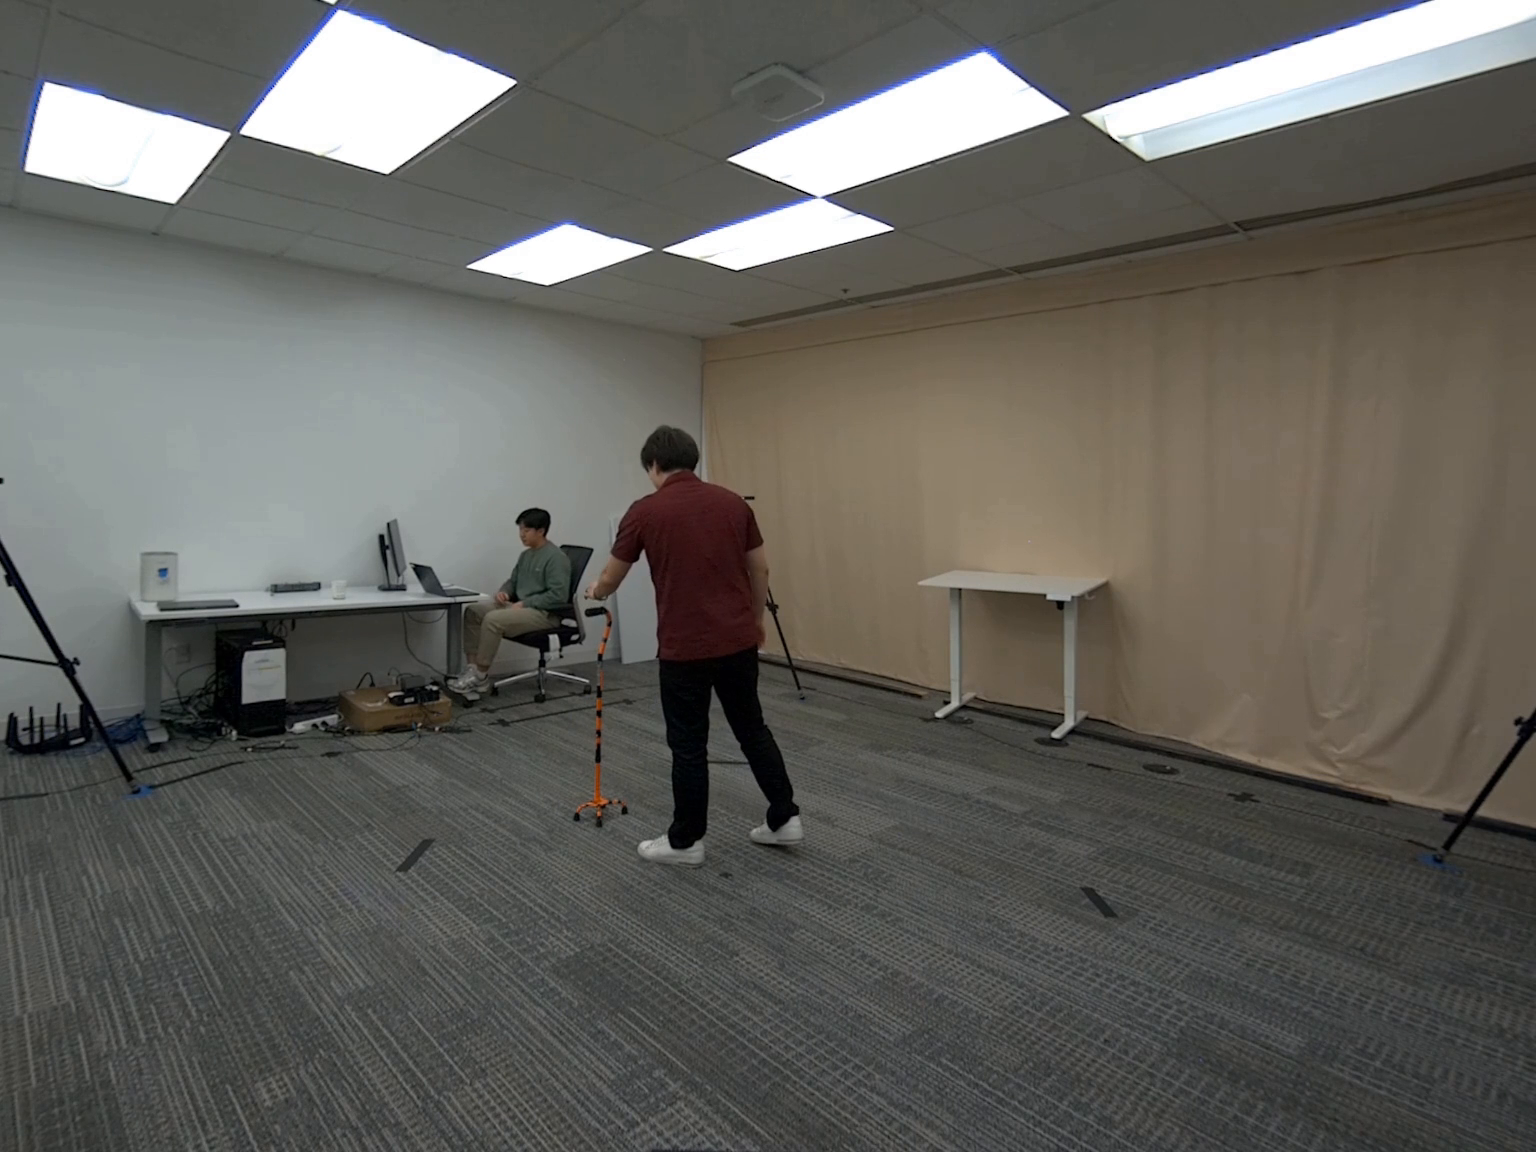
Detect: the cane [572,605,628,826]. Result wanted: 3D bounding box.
[{"bbox_3d":[-0.722,0.592,3.630,0.154,0.906,0.203,2,2,26],"label":"cane"}]
